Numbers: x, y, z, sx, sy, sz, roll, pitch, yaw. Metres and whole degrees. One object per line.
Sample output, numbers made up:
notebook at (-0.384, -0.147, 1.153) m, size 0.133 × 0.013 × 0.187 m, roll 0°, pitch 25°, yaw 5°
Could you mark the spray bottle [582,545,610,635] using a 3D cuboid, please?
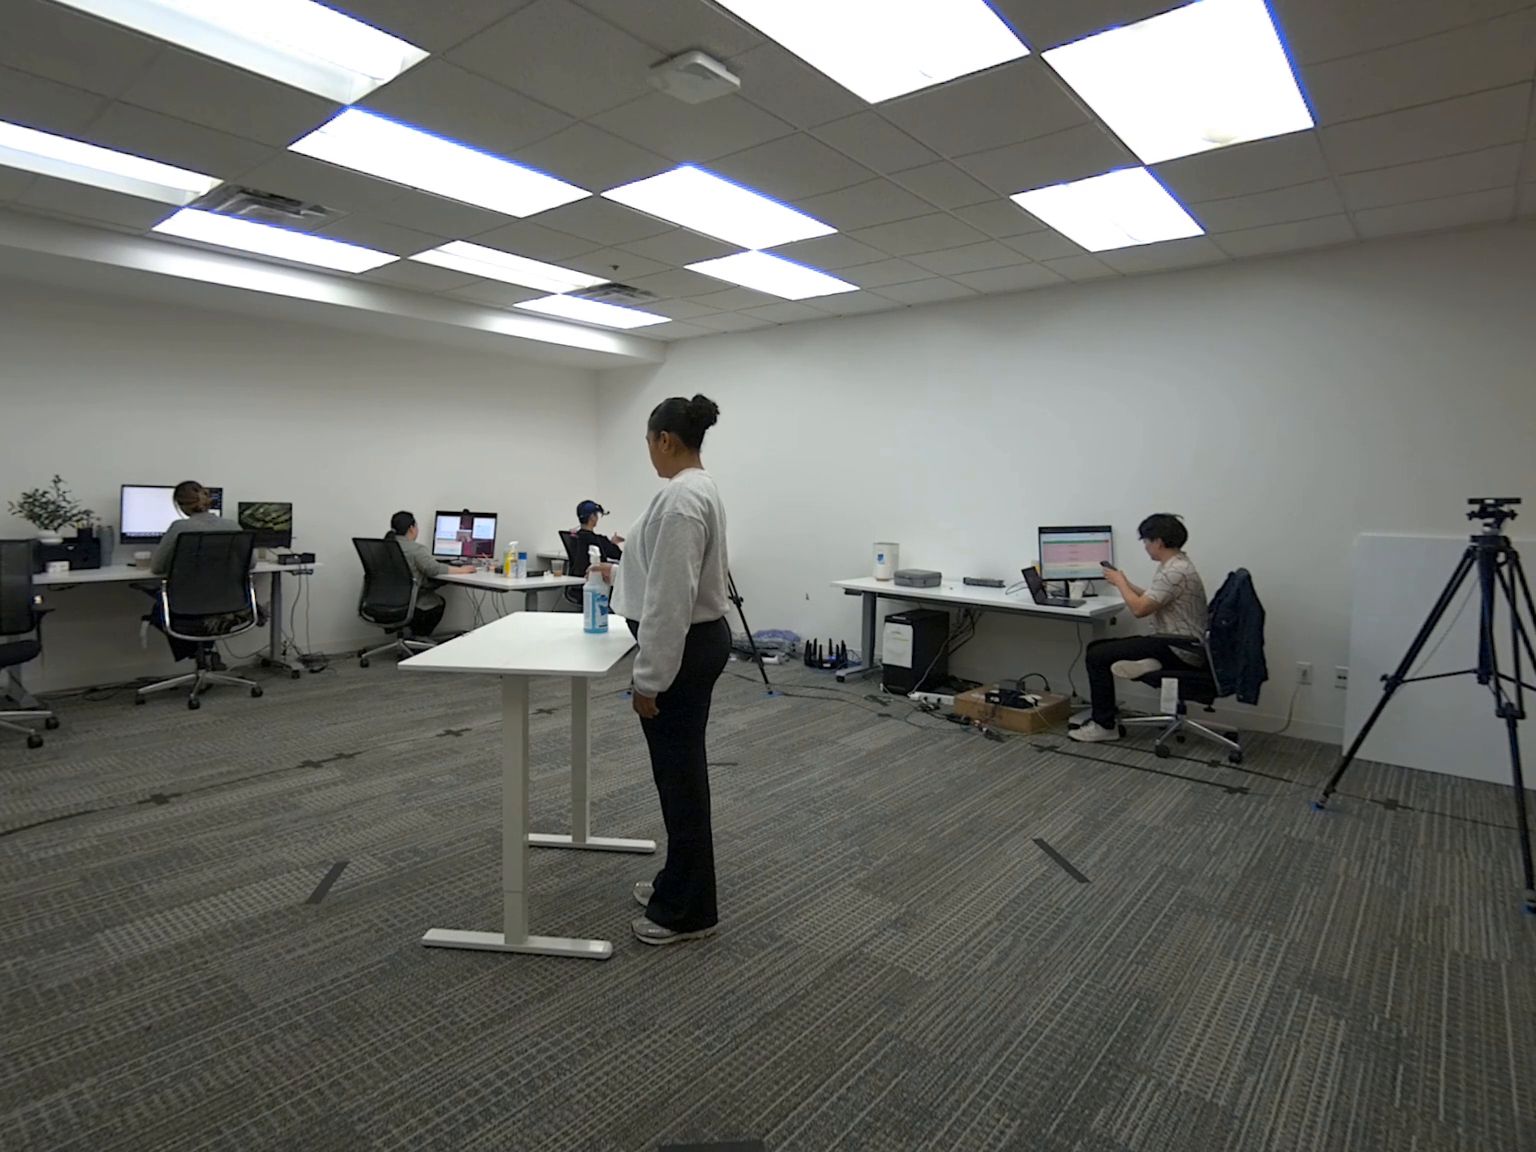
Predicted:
spray bottle at (-0.609, 0.045, 2.951) m, size 0.087 × 0.297 × 0.090 m, roll 2°, pitch 2°, yaw 1°
